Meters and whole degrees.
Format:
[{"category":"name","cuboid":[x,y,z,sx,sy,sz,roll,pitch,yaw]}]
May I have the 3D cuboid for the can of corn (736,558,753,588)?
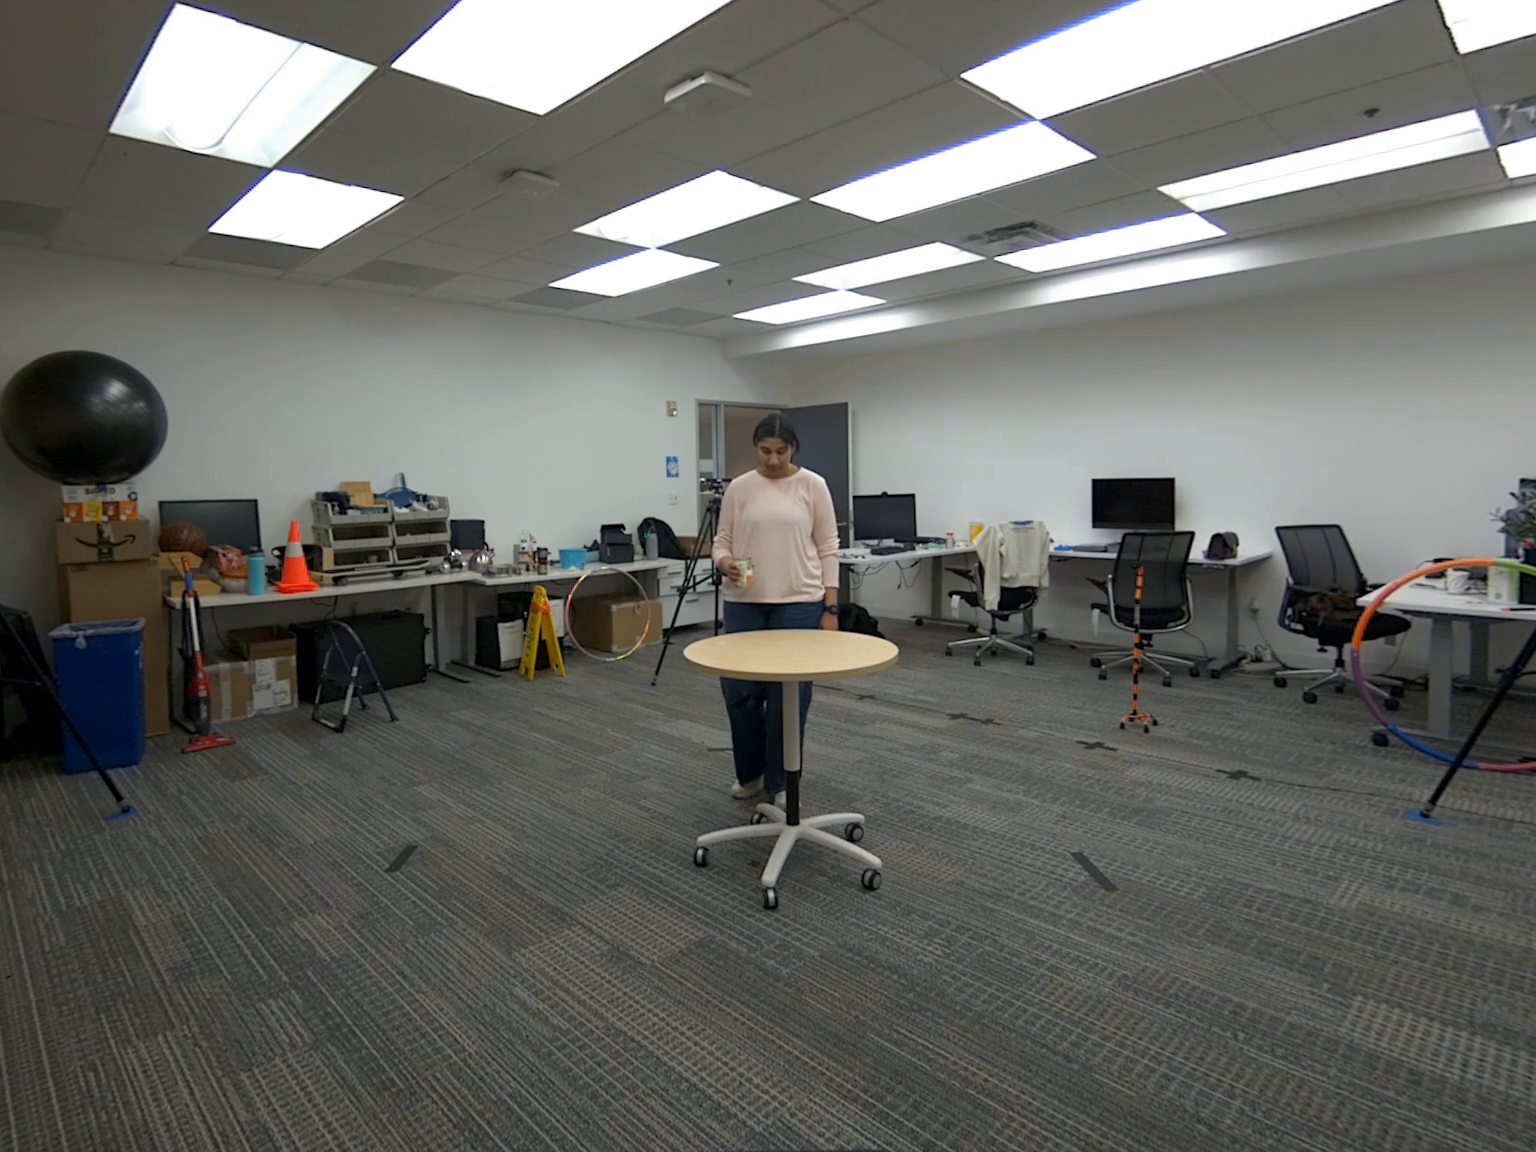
[{"category":"can of corn","cuboid":[-0.113,-0.010,3.401,0.074,0.111,0.074,-1,3,-2]}]
